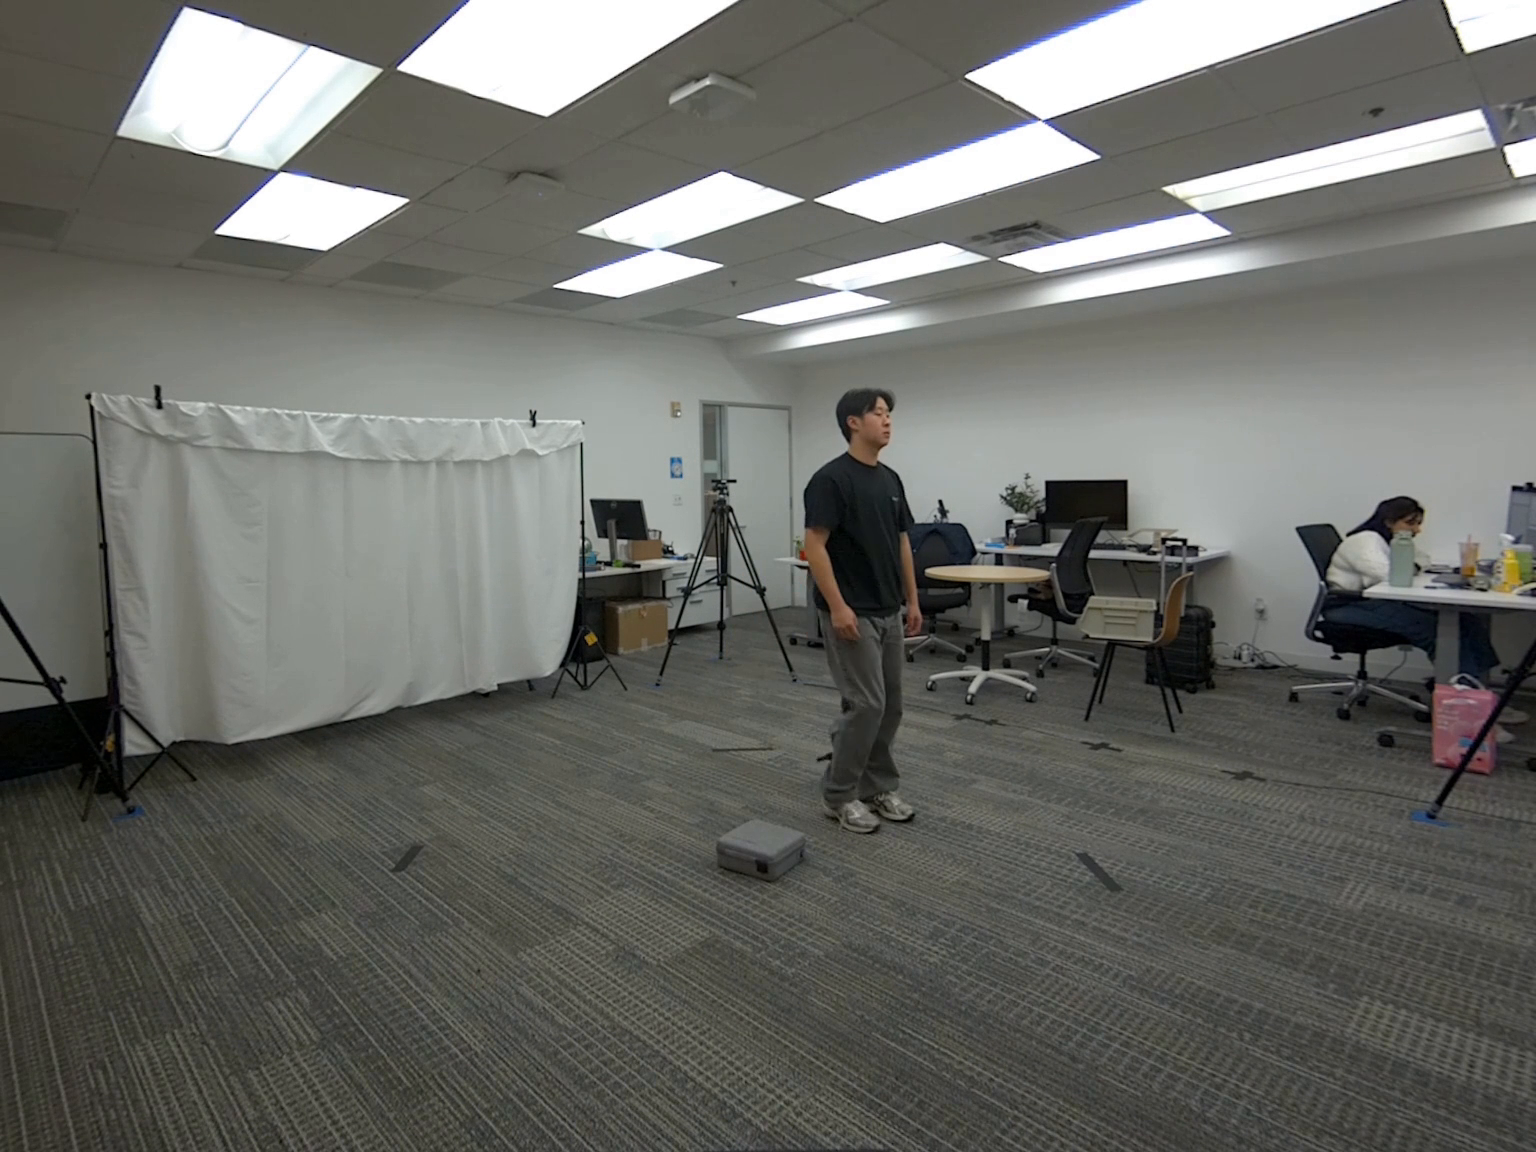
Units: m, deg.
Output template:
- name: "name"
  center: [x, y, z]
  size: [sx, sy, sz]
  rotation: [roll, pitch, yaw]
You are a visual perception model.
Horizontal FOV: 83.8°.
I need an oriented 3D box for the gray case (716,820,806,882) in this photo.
- name: "gray case"
  center: [-0.017, 0.990, 3.122]
  size: [0.271, 0.102, 0.280]
  rotation: [3, 7, 34]
